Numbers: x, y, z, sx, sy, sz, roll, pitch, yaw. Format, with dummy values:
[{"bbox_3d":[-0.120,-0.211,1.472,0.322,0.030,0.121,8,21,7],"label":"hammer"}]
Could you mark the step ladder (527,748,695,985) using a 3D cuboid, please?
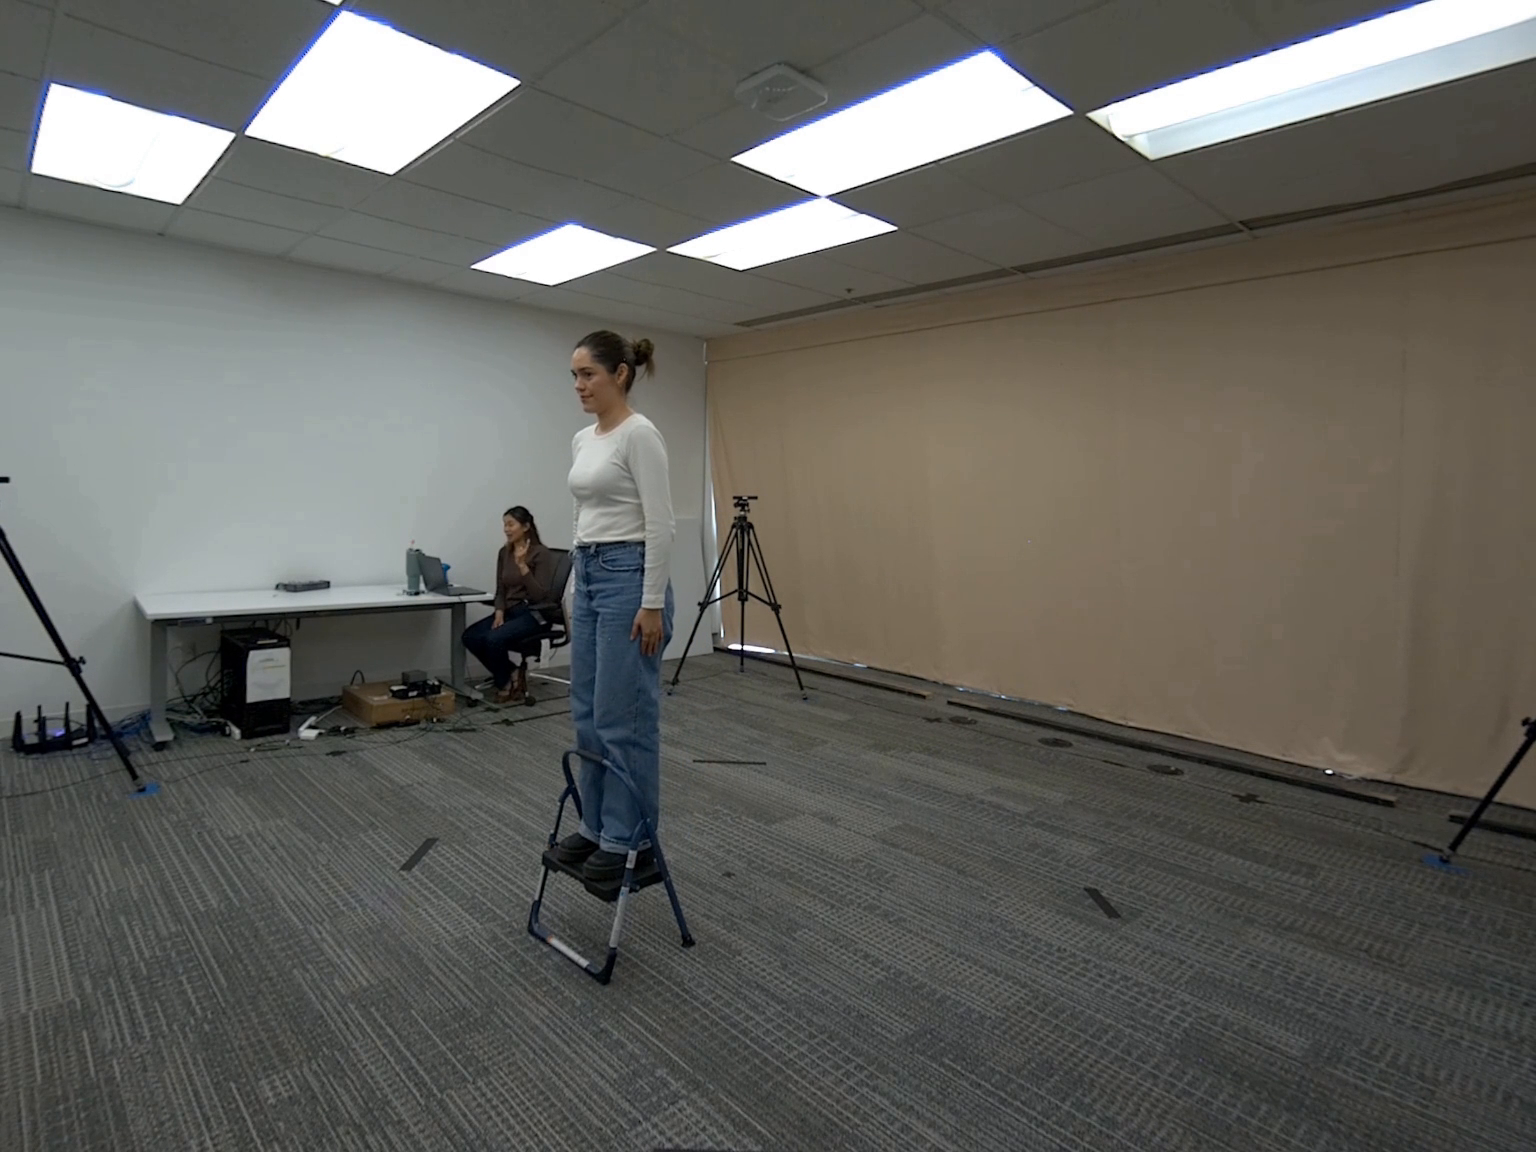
[{"bbox_3d":[-0.500,0.839,2.627,0.441,0.604,0.341,4,5,43],"label":"step ladder"}]
